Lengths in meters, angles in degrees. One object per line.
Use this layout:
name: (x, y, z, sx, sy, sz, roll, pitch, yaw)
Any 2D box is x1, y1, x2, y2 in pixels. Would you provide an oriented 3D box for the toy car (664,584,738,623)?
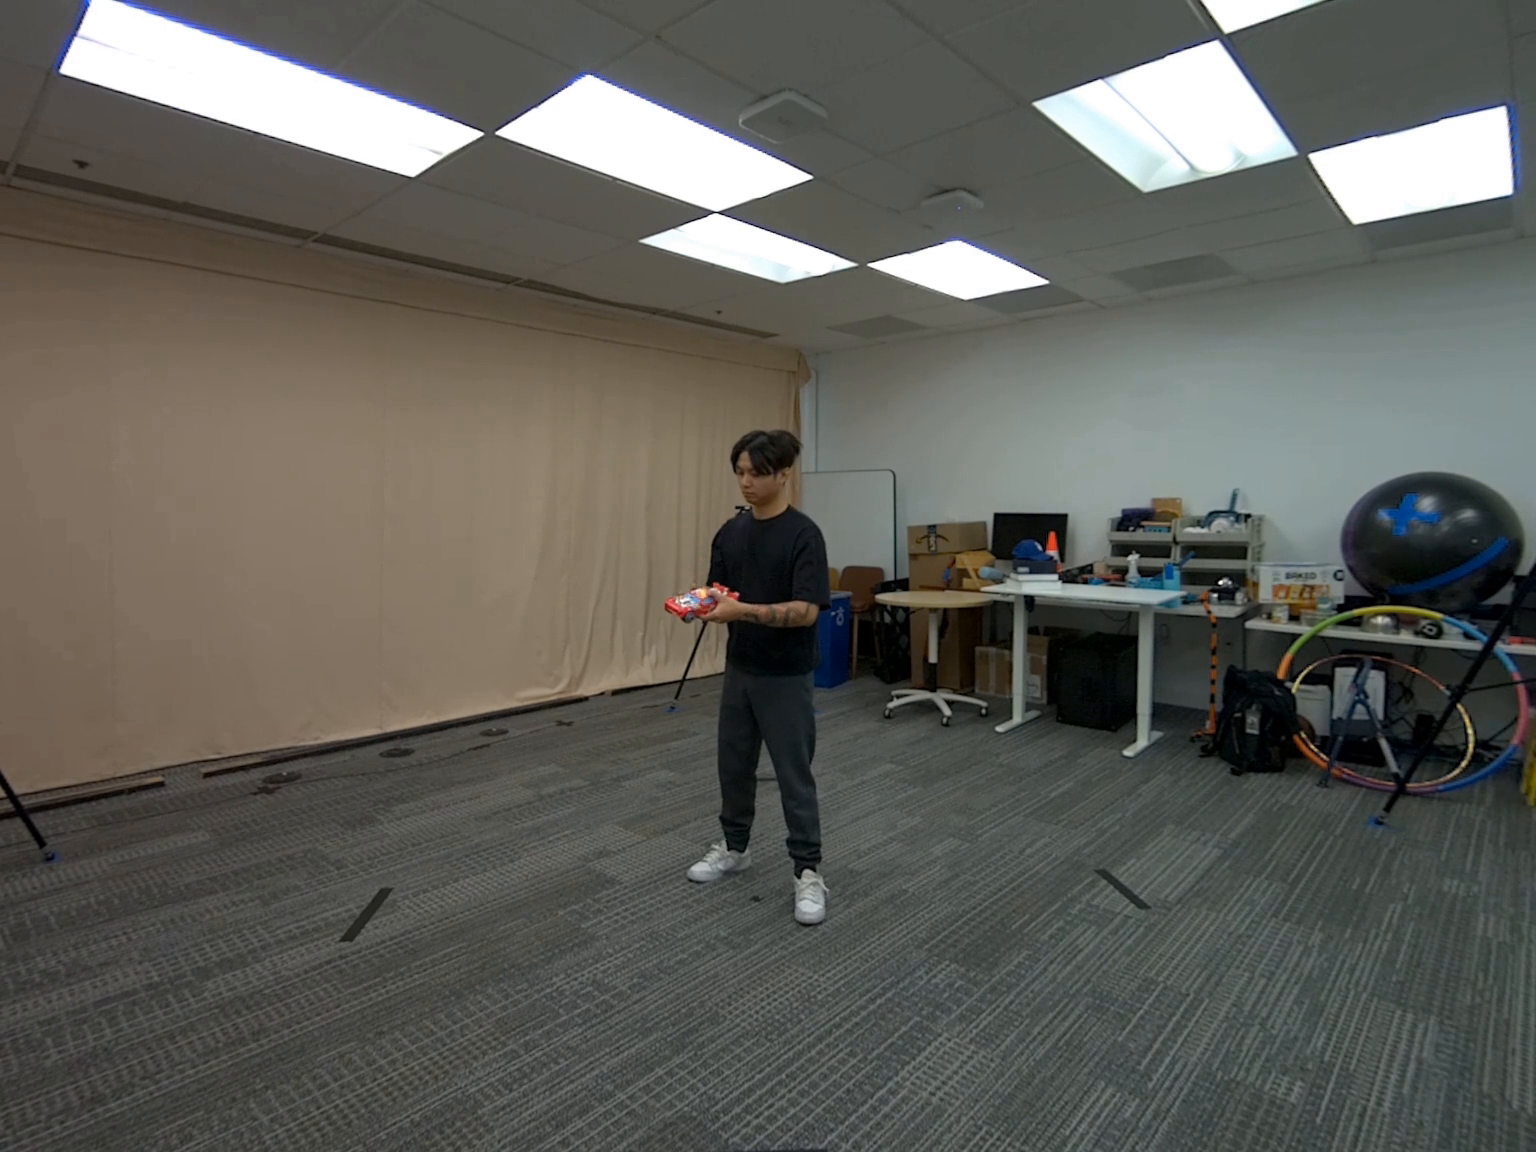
toy car: (-0.202, 0.098, 2.747, 0.249, 0.082, 0.135, -22, 31, -35)
